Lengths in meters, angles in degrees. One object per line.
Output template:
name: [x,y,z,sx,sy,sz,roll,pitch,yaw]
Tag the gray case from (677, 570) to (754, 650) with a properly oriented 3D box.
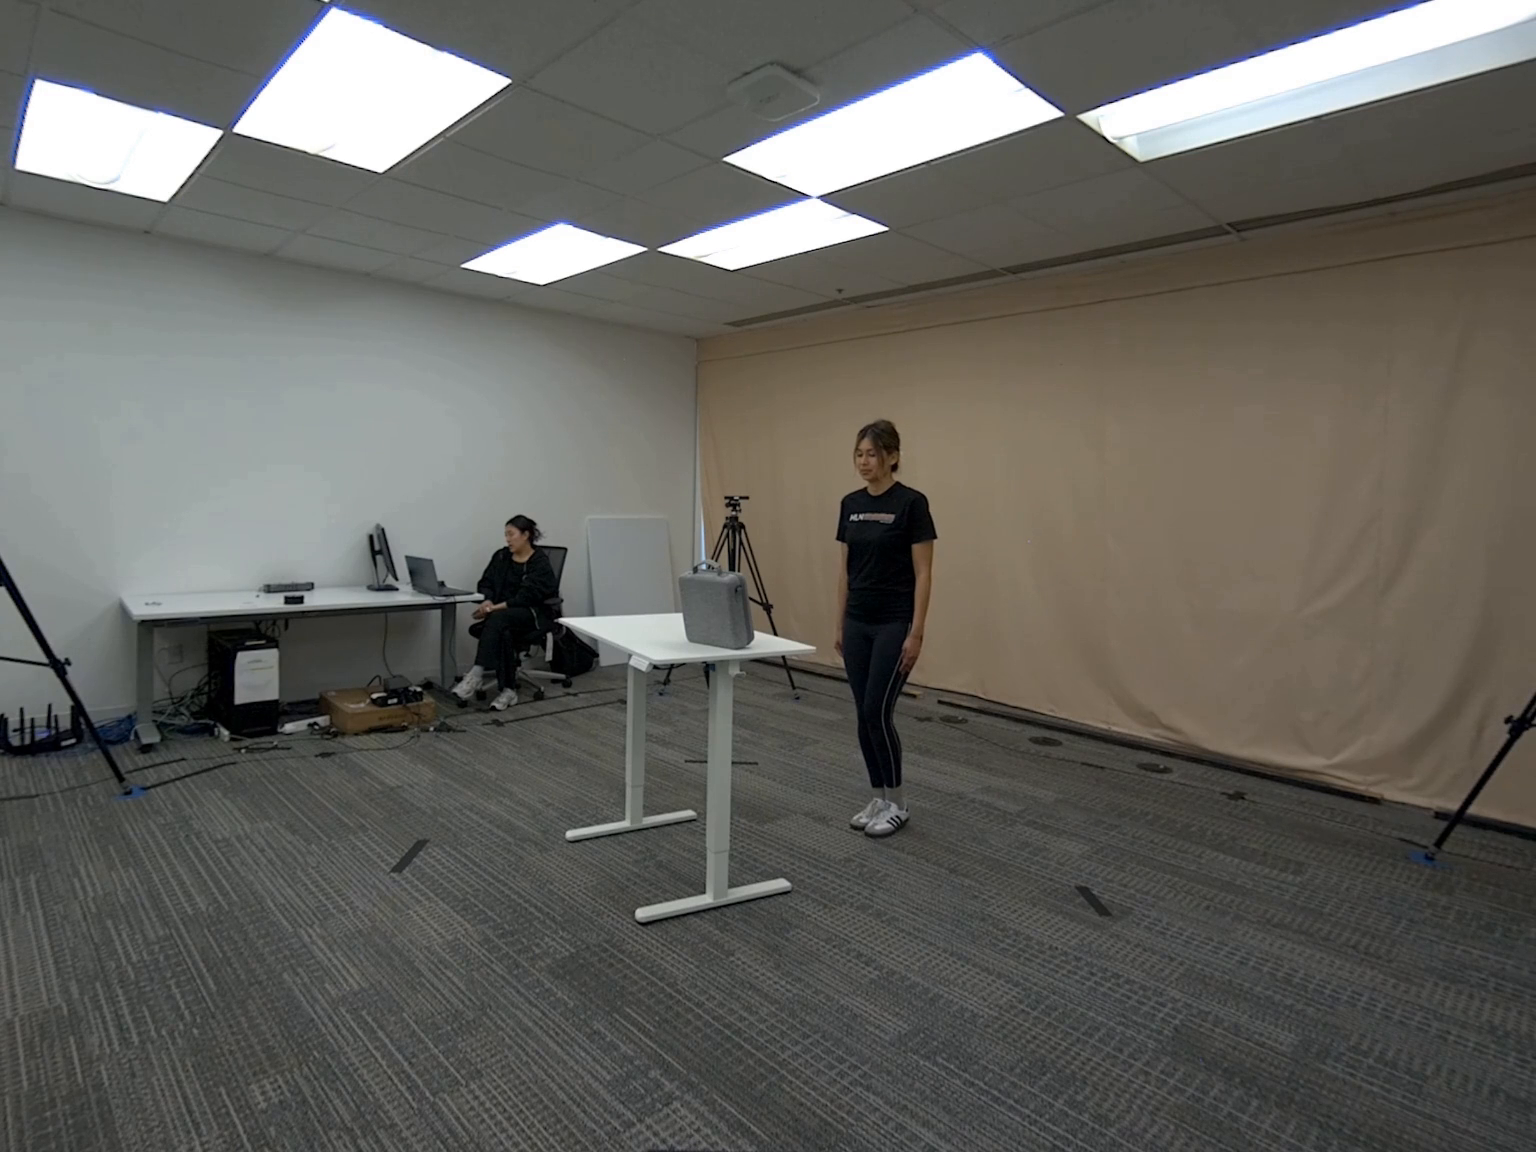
gray case: [-0.185,0.108,2.864,0.263,0.258,0.103,3,16,43]
